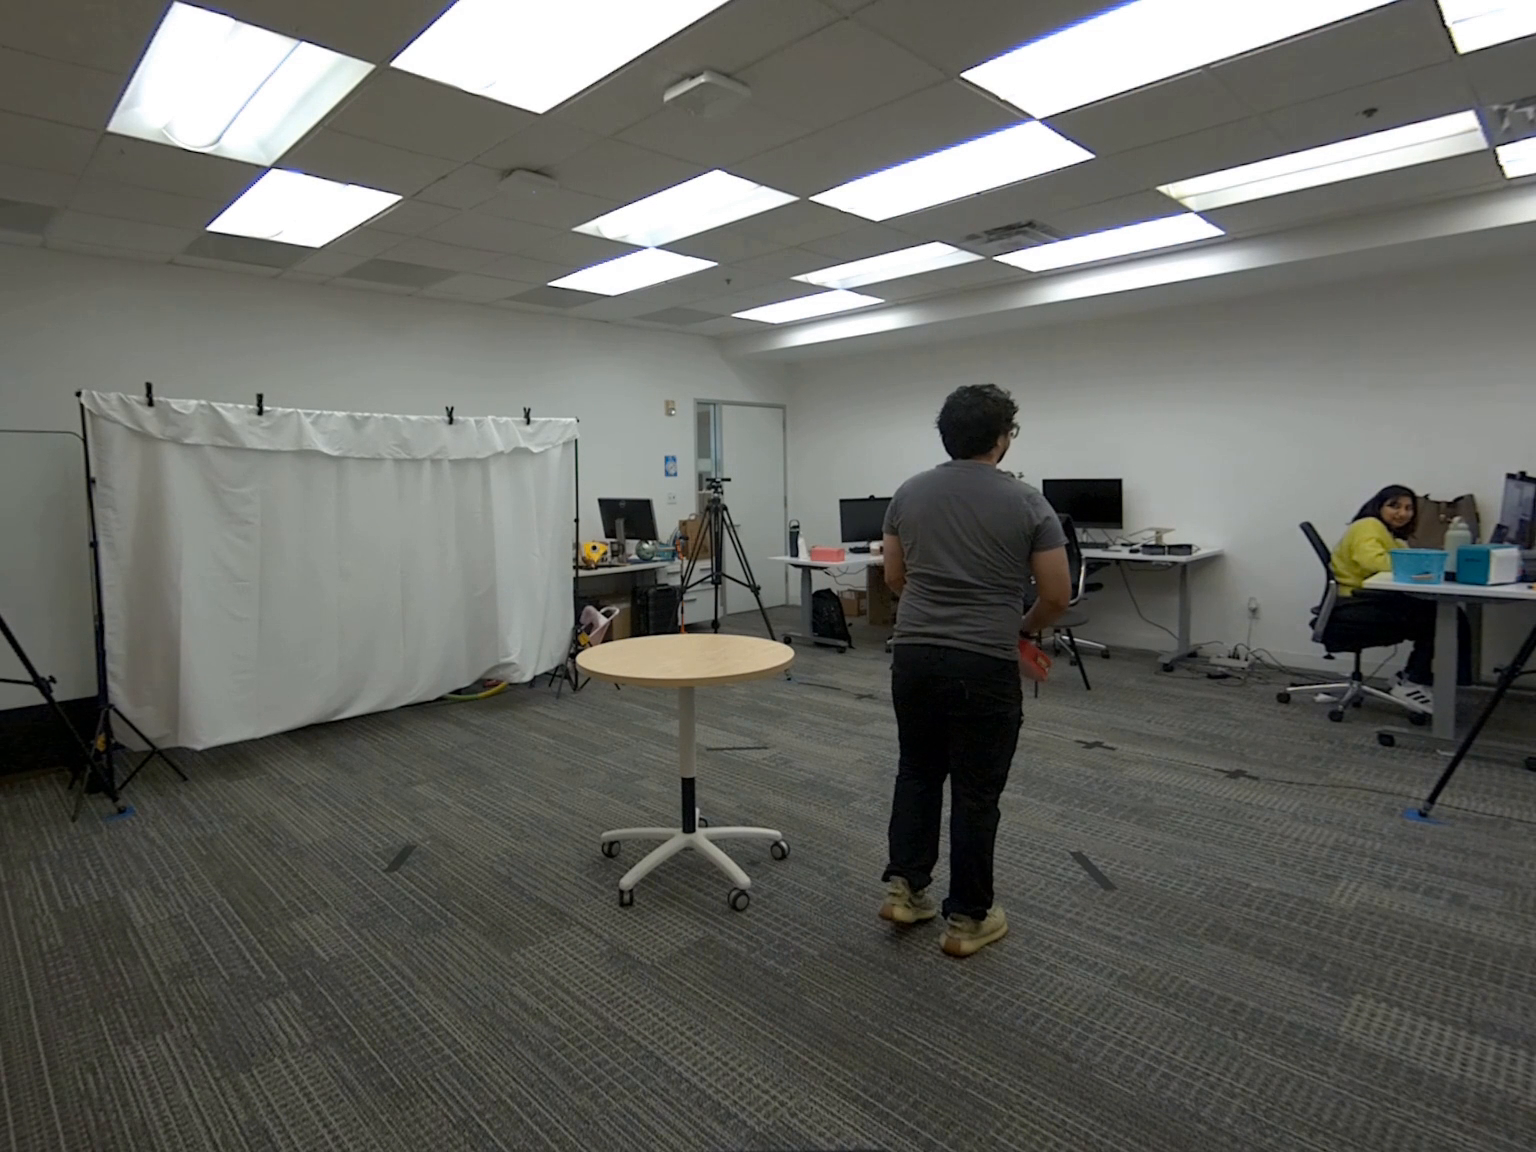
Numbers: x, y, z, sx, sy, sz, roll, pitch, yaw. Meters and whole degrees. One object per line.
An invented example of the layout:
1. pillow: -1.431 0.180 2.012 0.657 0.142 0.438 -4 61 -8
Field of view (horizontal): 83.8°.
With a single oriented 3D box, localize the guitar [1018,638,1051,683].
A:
1. guitar: 0.703 0.238 2.793 0.187 0.071 0.511 37 -12 -26
